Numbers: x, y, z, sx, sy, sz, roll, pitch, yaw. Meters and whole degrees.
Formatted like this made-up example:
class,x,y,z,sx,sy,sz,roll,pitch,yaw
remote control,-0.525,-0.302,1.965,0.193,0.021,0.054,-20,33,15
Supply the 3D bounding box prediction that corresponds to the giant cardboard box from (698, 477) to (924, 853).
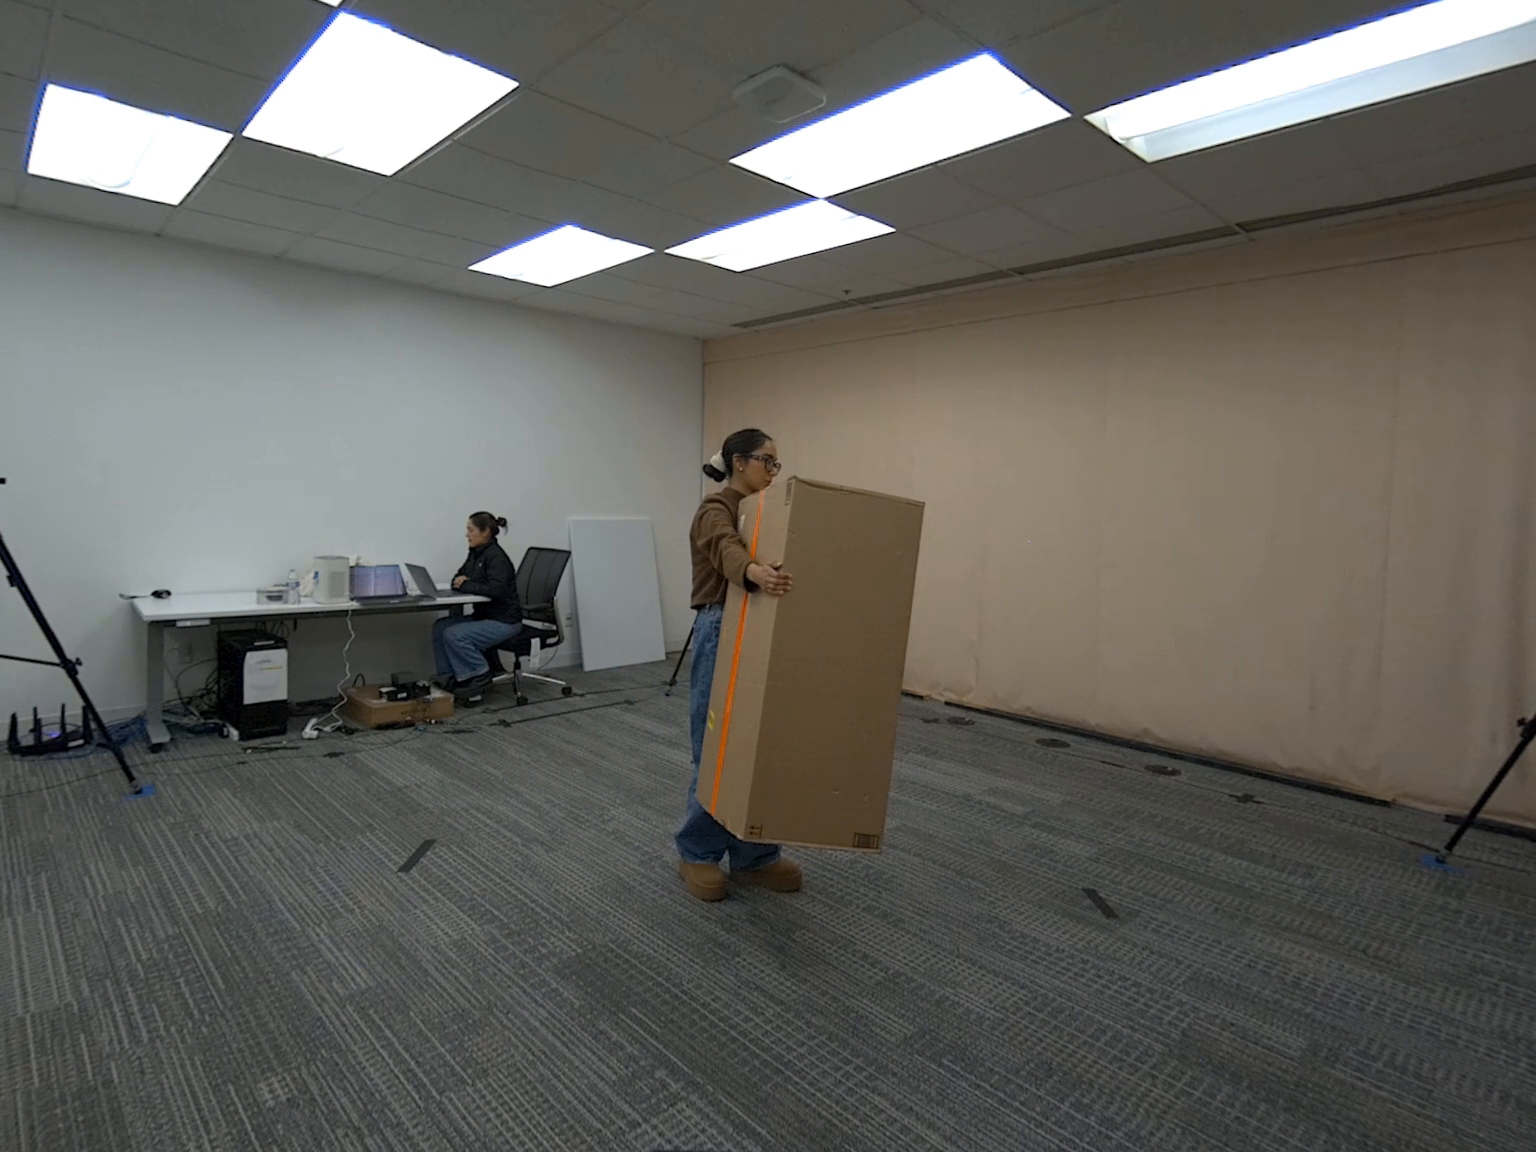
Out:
class,x,y,z,sx,sy,sz,roll,pitch,yaw
giant cardboard box,0.107,0.269,2.660,0.420,1.030,0.583,10,-7,-16
